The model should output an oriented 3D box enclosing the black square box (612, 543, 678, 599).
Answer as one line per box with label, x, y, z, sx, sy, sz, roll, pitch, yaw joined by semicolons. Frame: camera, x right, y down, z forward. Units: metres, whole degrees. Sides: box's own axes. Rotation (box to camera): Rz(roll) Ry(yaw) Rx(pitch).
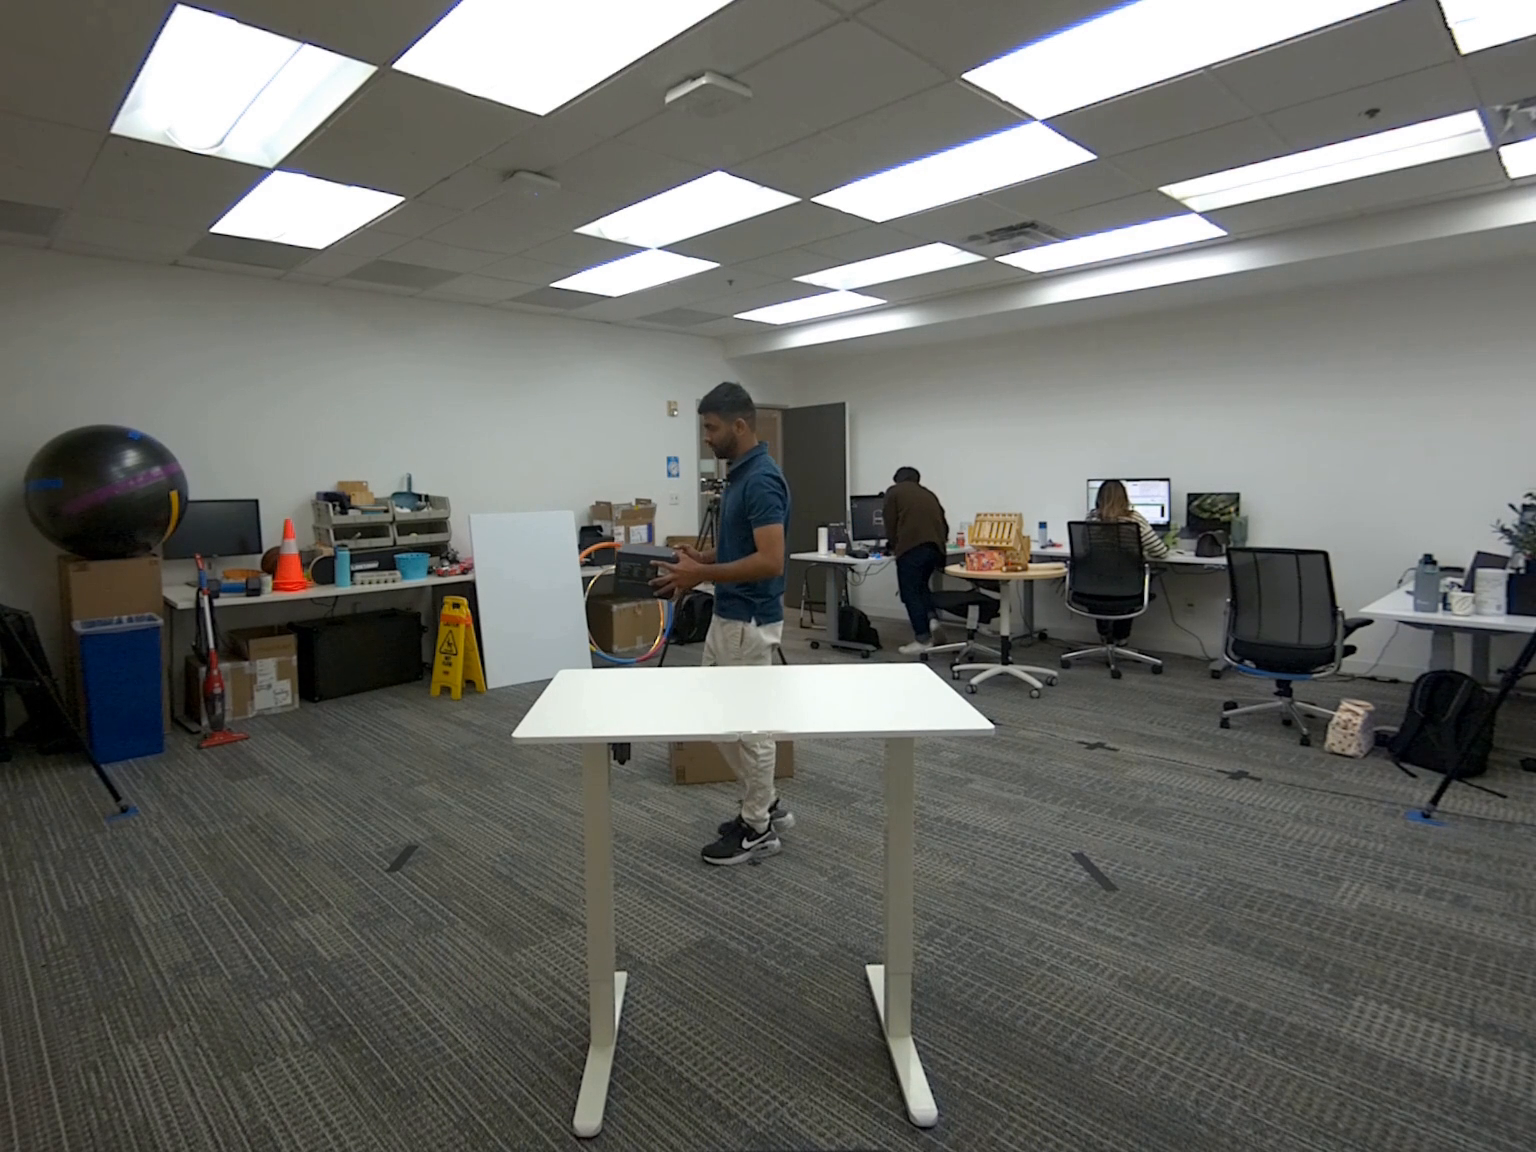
black square box;-0.435;-0.020;3.094;0.217;0.155;0.229;3;9;1
